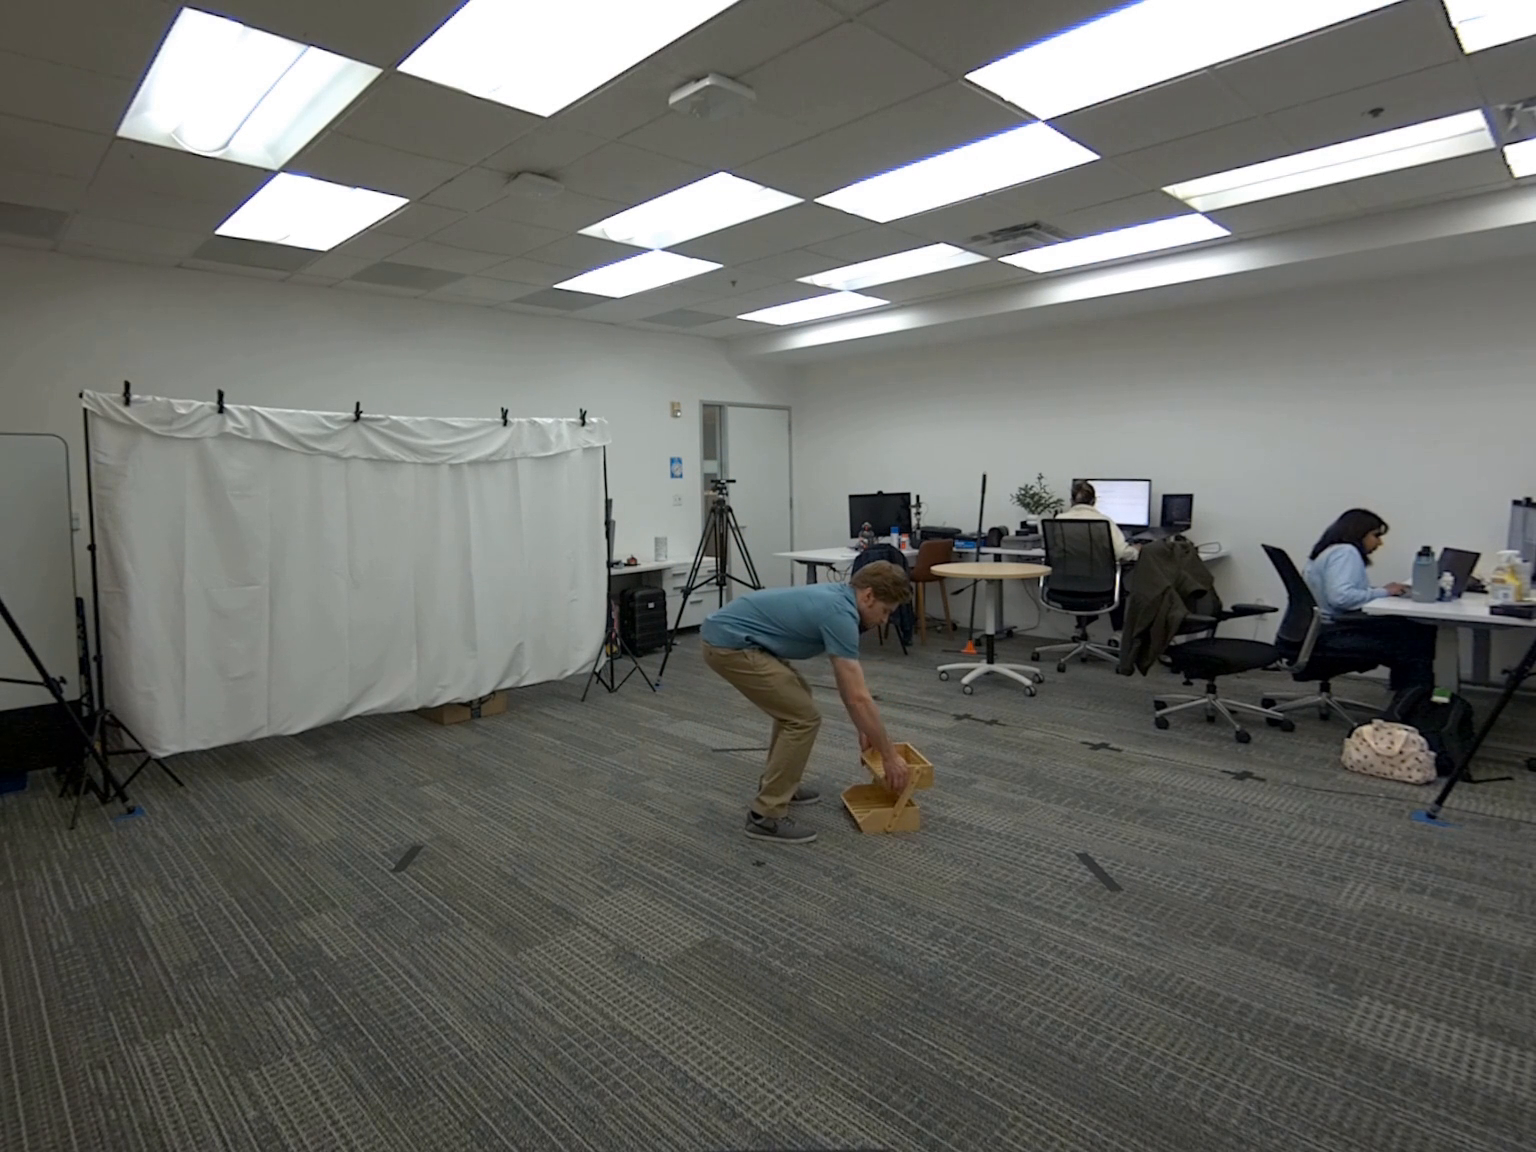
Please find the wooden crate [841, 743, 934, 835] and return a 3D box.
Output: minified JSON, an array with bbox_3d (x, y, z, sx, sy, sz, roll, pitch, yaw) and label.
[{"bbox_3d":[0.477,0.861,3.514,0.300,0.272,0.328,-1,5,-7],"label":"wooden crate"}]
